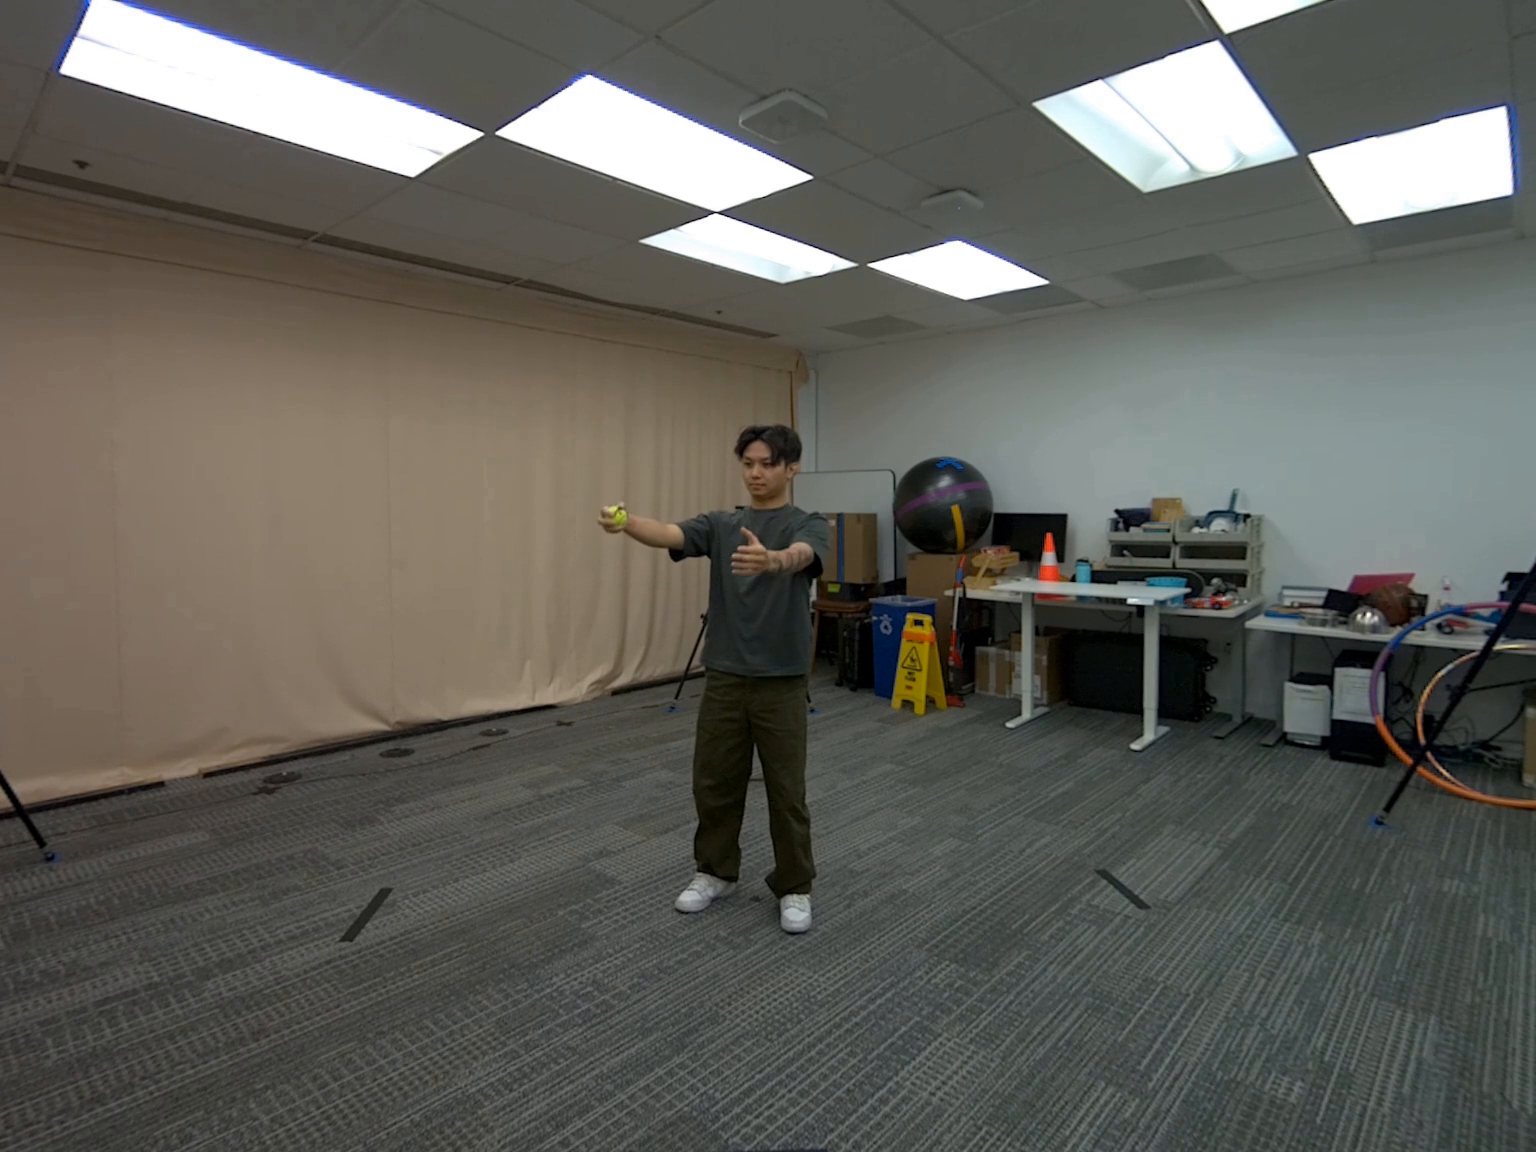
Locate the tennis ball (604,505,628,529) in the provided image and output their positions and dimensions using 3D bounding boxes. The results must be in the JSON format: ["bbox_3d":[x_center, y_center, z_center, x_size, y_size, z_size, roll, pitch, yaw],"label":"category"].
[{"bbox_3d":[-0.442,-0.157,2.510,0.066,0.066,0.067,0,4,-2],"label":"tennis ball"}]
